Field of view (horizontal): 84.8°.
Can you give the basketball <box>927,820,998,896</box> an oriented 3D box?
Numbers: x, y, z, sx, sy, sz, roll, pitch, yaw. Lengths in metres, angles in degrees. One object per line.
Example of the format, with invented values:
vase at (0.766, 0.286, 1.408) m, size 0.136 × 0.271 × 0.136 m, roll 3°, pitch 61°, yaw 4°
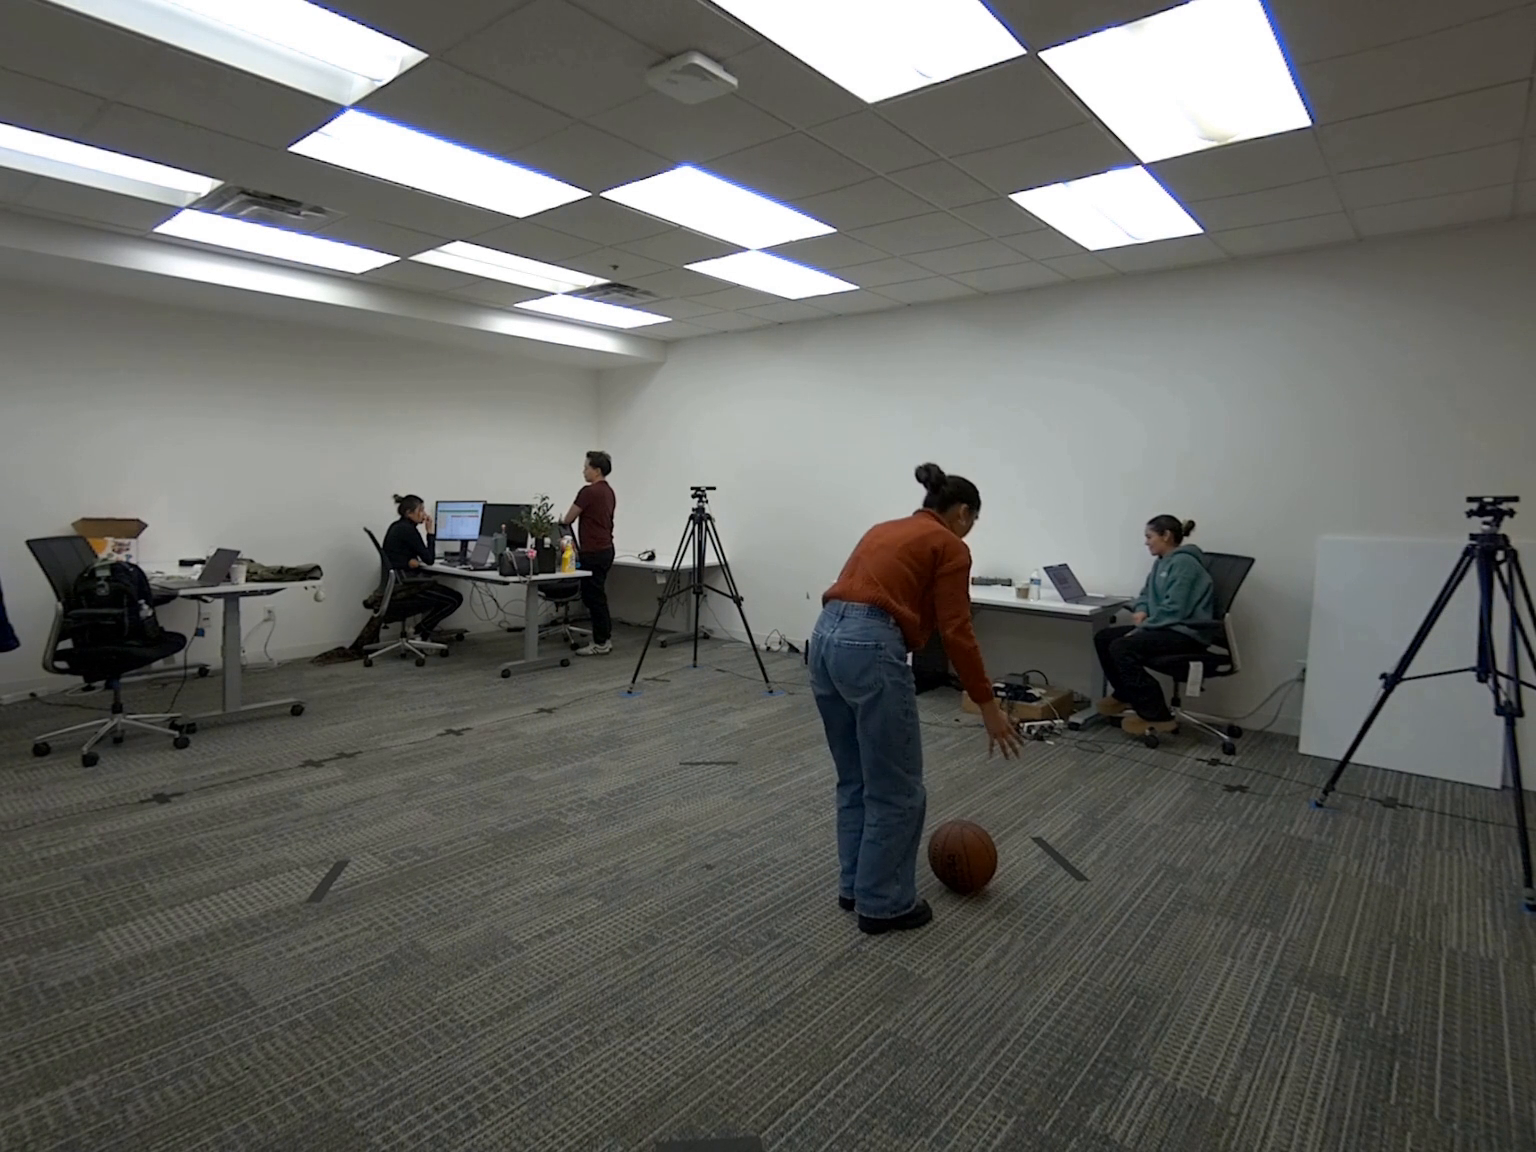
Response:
basketball at (0.675, 0.973, 2.994) m, size 0.236 × 0.235 × 0.237 m, roll 1°, pitch 4°, yaw -2°
